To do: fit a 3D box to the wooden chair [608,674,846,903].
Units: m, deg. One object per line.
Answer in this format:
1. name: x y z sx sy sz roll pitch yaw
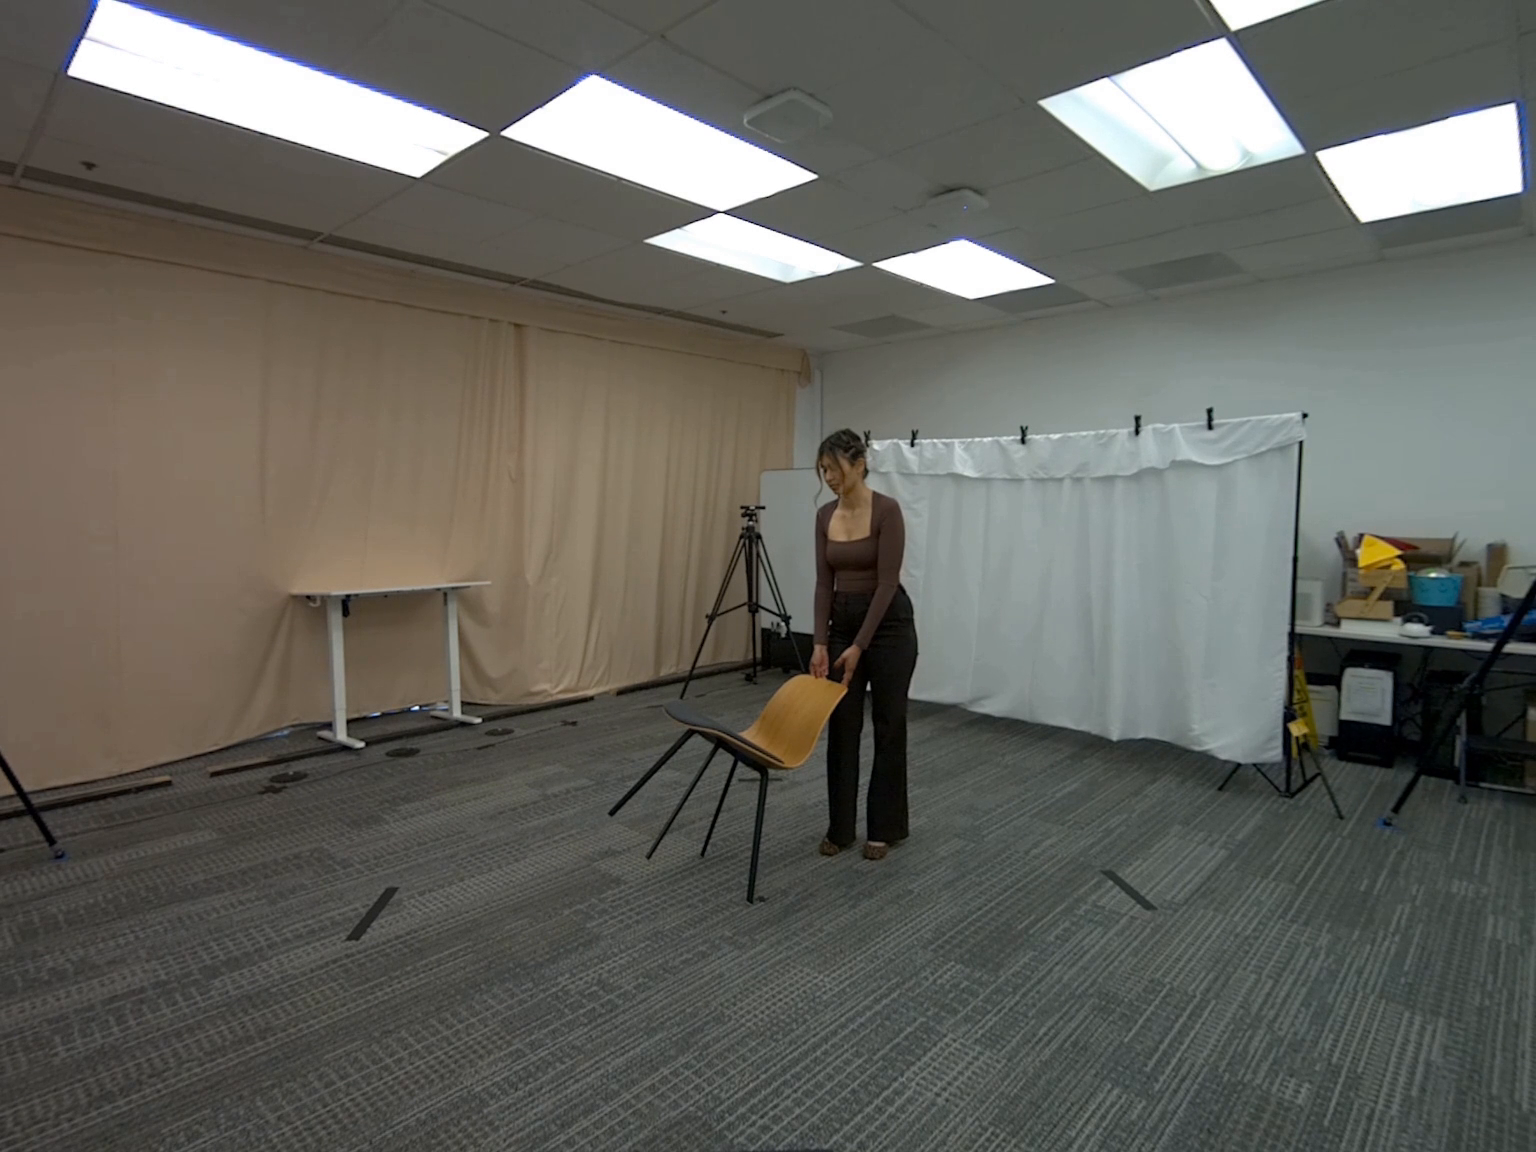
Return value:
1. wooden chair: -0.139 0.645 3.122 0.510 0.877 0.491 36 -12 -23
